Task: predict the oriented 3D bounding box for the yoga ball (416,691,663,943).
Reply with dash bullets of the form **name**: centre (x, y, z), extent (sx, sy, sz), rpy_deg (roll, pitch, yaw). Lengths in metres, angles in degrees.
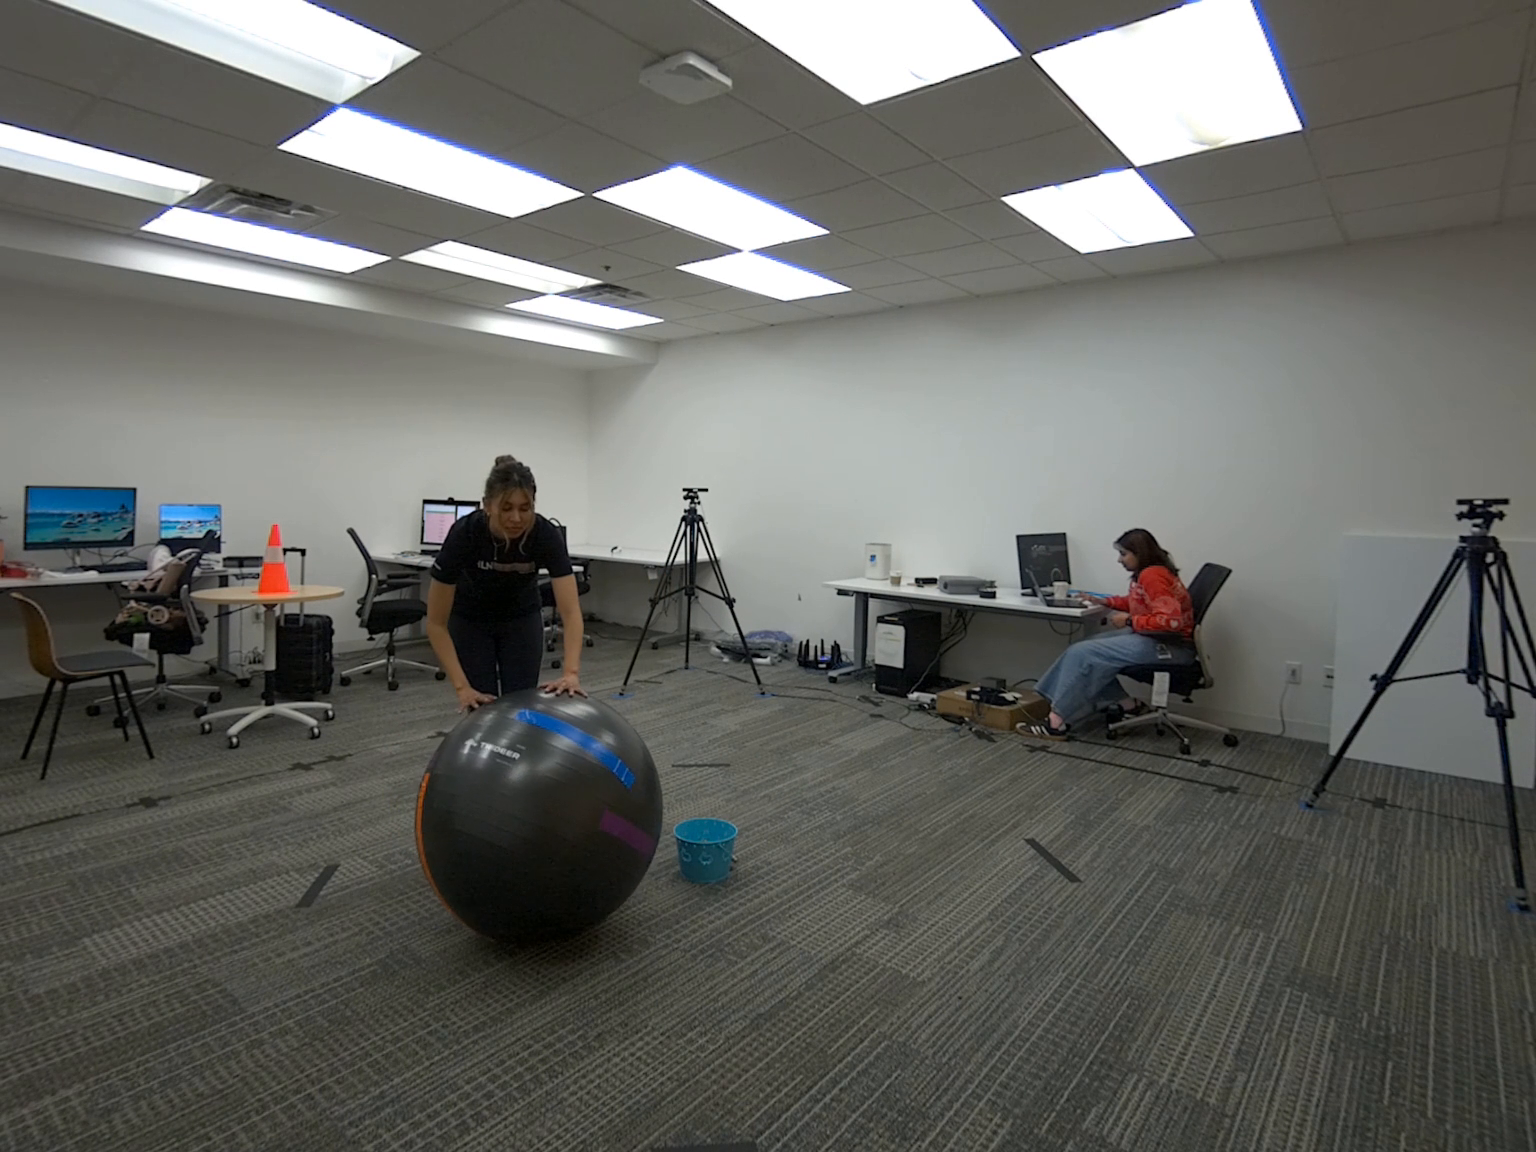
- **yoga ball**: centre (-0.719, 0.735, 2.666), extent (0.757, 0.755, 0.762), rpy_deg (1, 4, -2)
